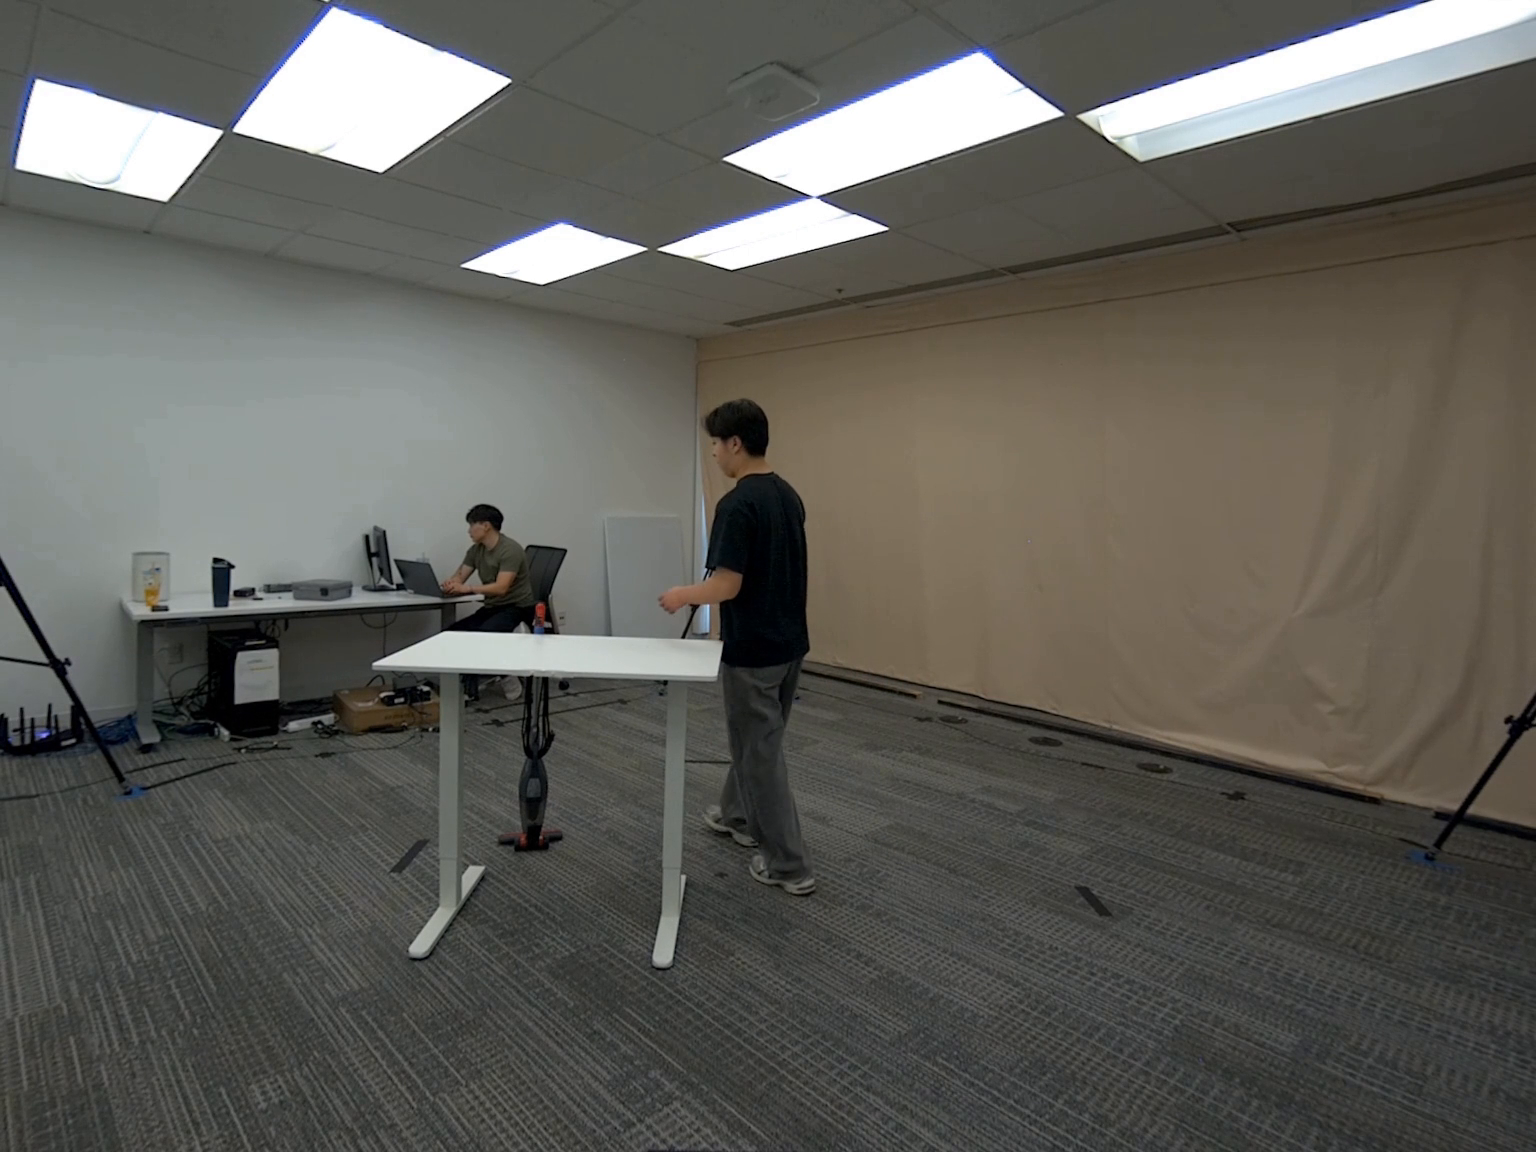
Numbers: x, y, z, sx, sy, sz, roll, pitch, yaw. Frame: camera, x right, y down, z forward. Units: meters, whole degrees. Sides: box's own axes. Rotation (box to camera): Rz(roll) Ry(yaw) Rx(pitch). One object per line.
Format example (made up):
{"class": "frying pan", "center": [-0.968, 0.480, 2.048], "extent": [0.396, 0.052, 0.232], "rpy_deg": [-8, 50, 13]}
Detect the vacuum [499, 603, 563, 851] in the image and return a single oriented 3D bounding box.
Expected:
{"class": "vacuum", "center": [-0.878, 0.588, 3.147], "extent": [0.249, 1.036, 0.148], "rpy_deg": [0, 22, -19]}
